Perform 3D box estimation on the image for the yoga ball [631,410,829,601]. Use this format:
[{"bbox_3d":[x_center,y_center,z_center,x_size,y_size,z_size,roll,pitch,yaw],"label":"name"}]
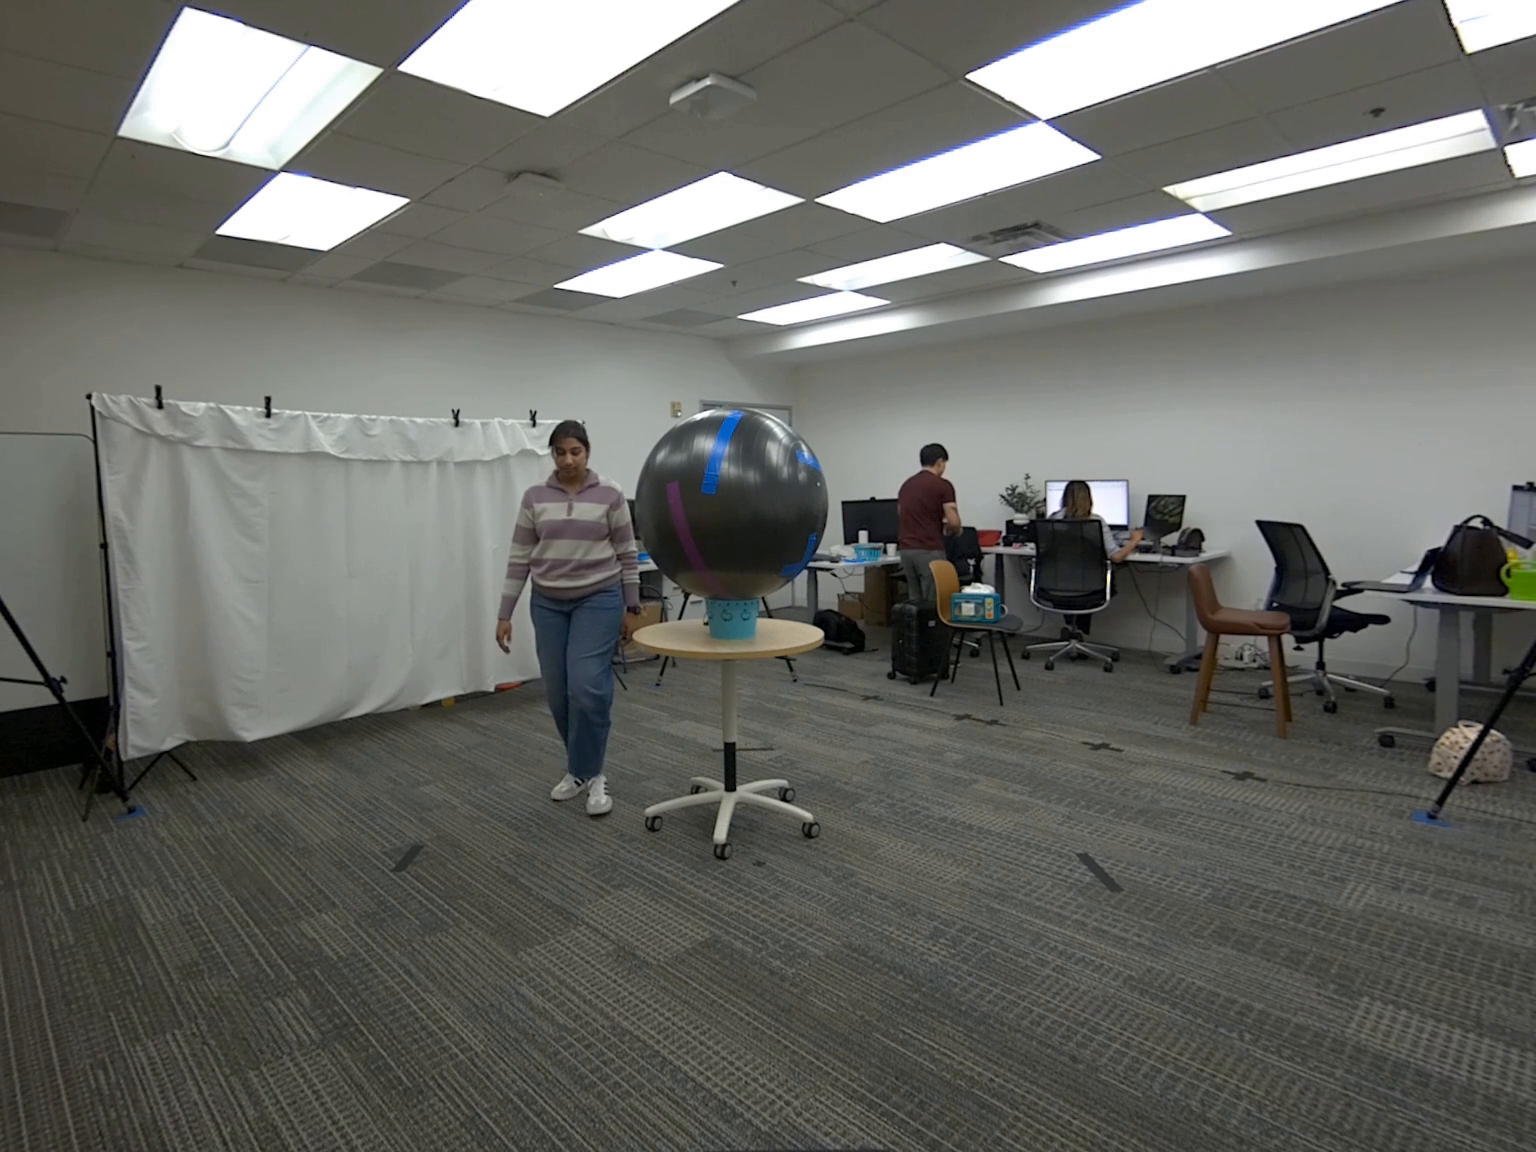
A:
[{"bbox_3d":[-0.152,-0.274,3.356,0.757,0.755,0.762,-1,5,-2],"label":"yoga ball"}]
